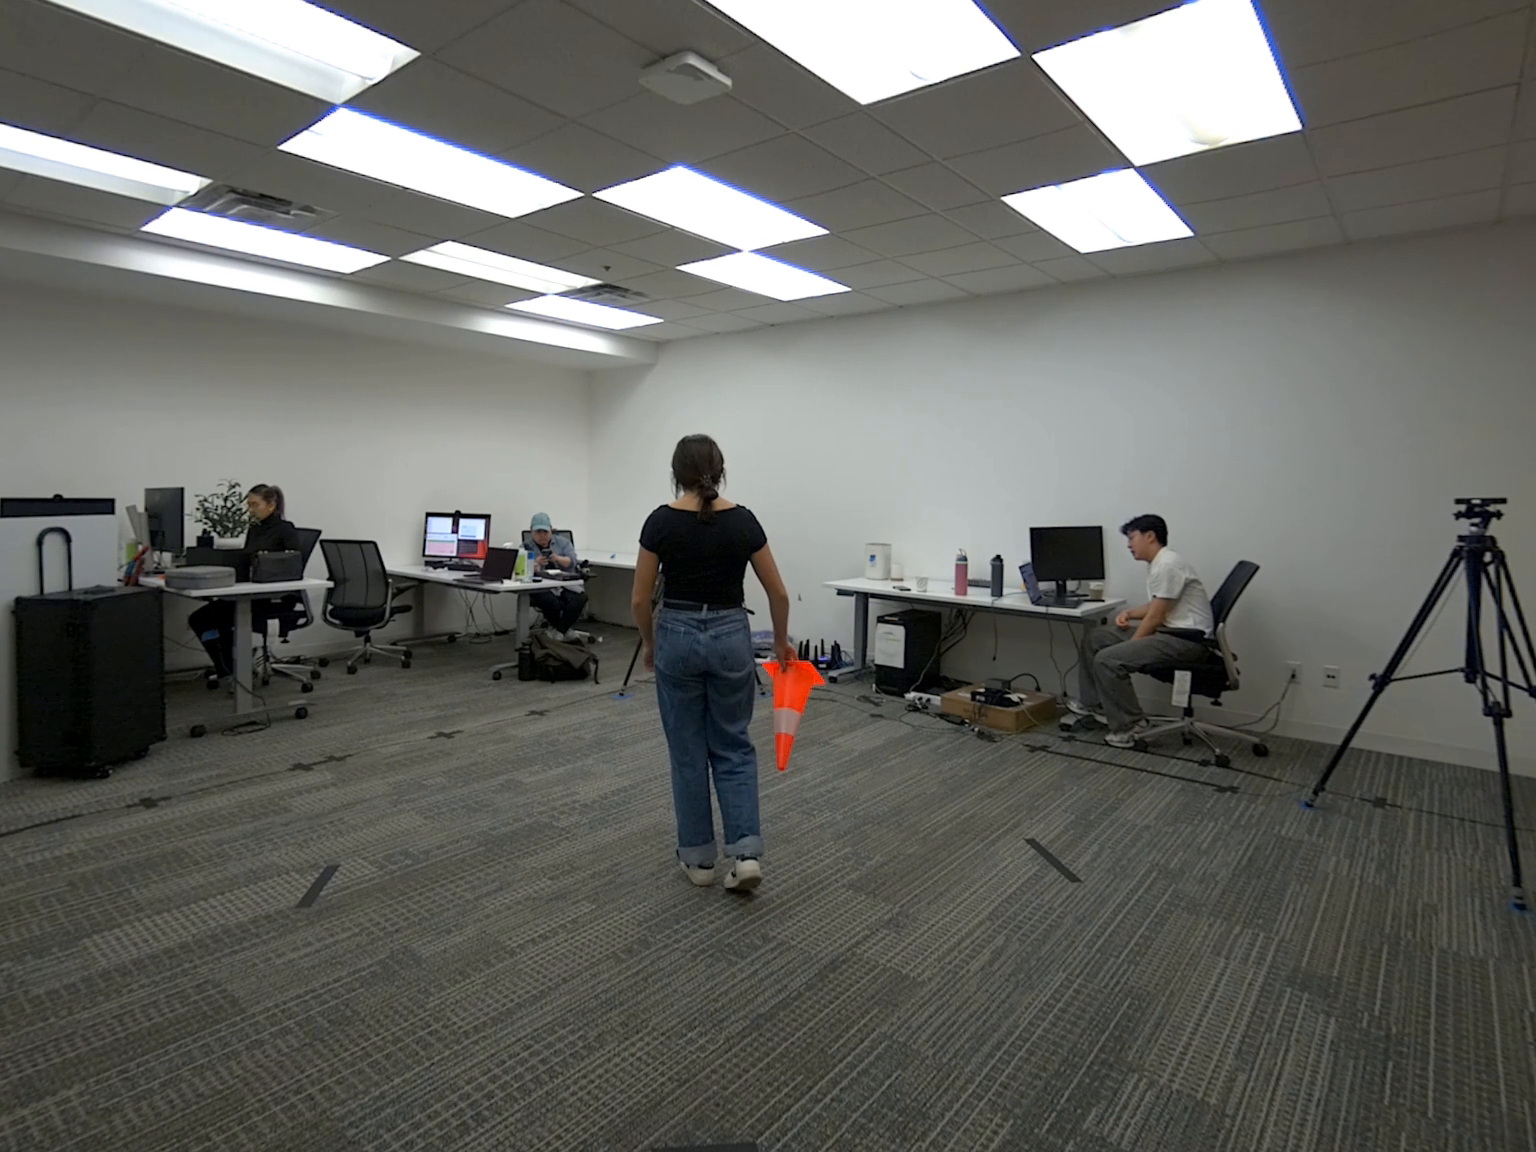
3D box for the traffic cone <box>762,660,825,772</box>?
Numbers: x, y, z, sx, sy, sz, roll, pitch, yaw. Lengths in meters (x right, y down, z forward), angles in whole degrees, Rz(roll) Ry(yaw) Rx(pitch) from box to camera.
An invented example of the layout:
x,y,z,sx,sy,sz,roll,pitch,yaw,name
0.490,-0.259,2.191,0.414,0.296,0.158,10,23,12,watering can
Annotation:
x,y,z,sx,sy,sz,roll,pitch,yaw,name
0.053,0.516,3.118,0.207,0.392,0.196,-7,-38,23,traffic cone
